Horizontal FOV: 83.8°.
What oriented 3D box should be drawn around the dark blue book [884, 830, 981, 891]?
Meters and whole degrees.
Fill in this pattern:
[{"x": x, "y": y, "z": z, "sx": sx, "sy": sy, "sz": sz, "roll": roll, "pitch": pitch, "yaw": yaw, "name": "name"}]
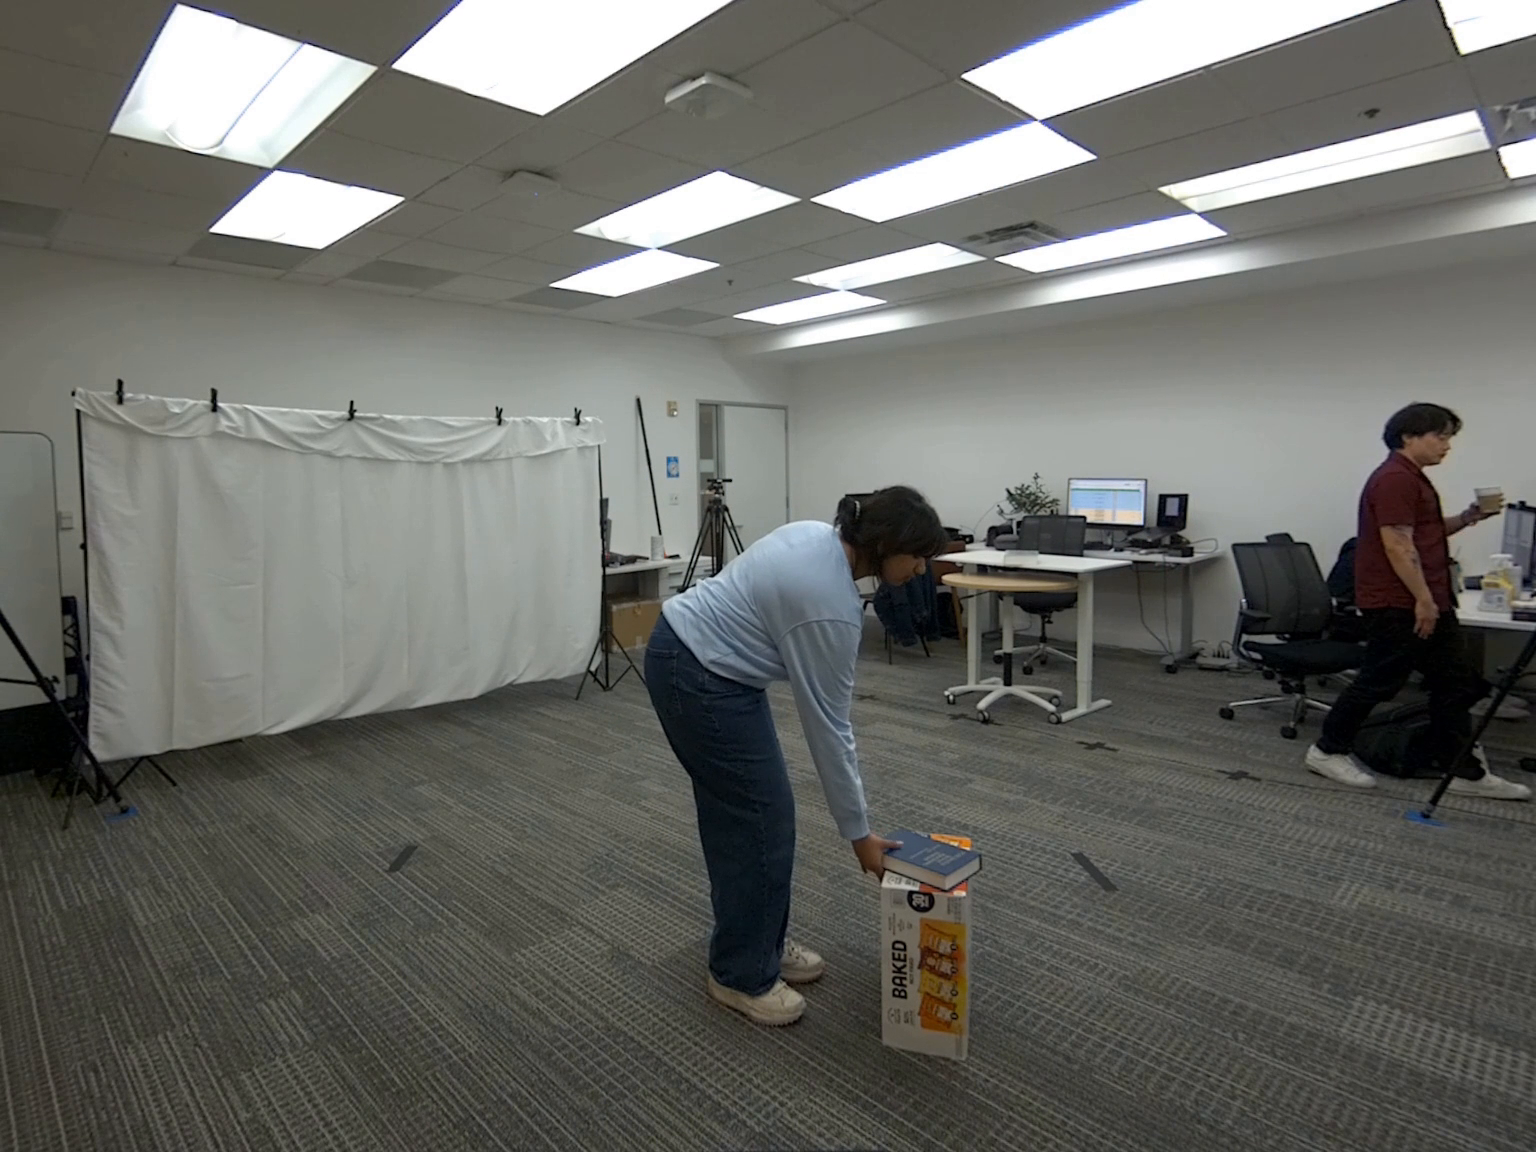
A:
[{"x": 0.394, "y": 0.712, "z": 2.189, "sx": 0.253, "sy": 0.045, "sz": 0.159, "roll": 5, "pitch": 9, "yaw": 44, "name": "dark blue book"}]
